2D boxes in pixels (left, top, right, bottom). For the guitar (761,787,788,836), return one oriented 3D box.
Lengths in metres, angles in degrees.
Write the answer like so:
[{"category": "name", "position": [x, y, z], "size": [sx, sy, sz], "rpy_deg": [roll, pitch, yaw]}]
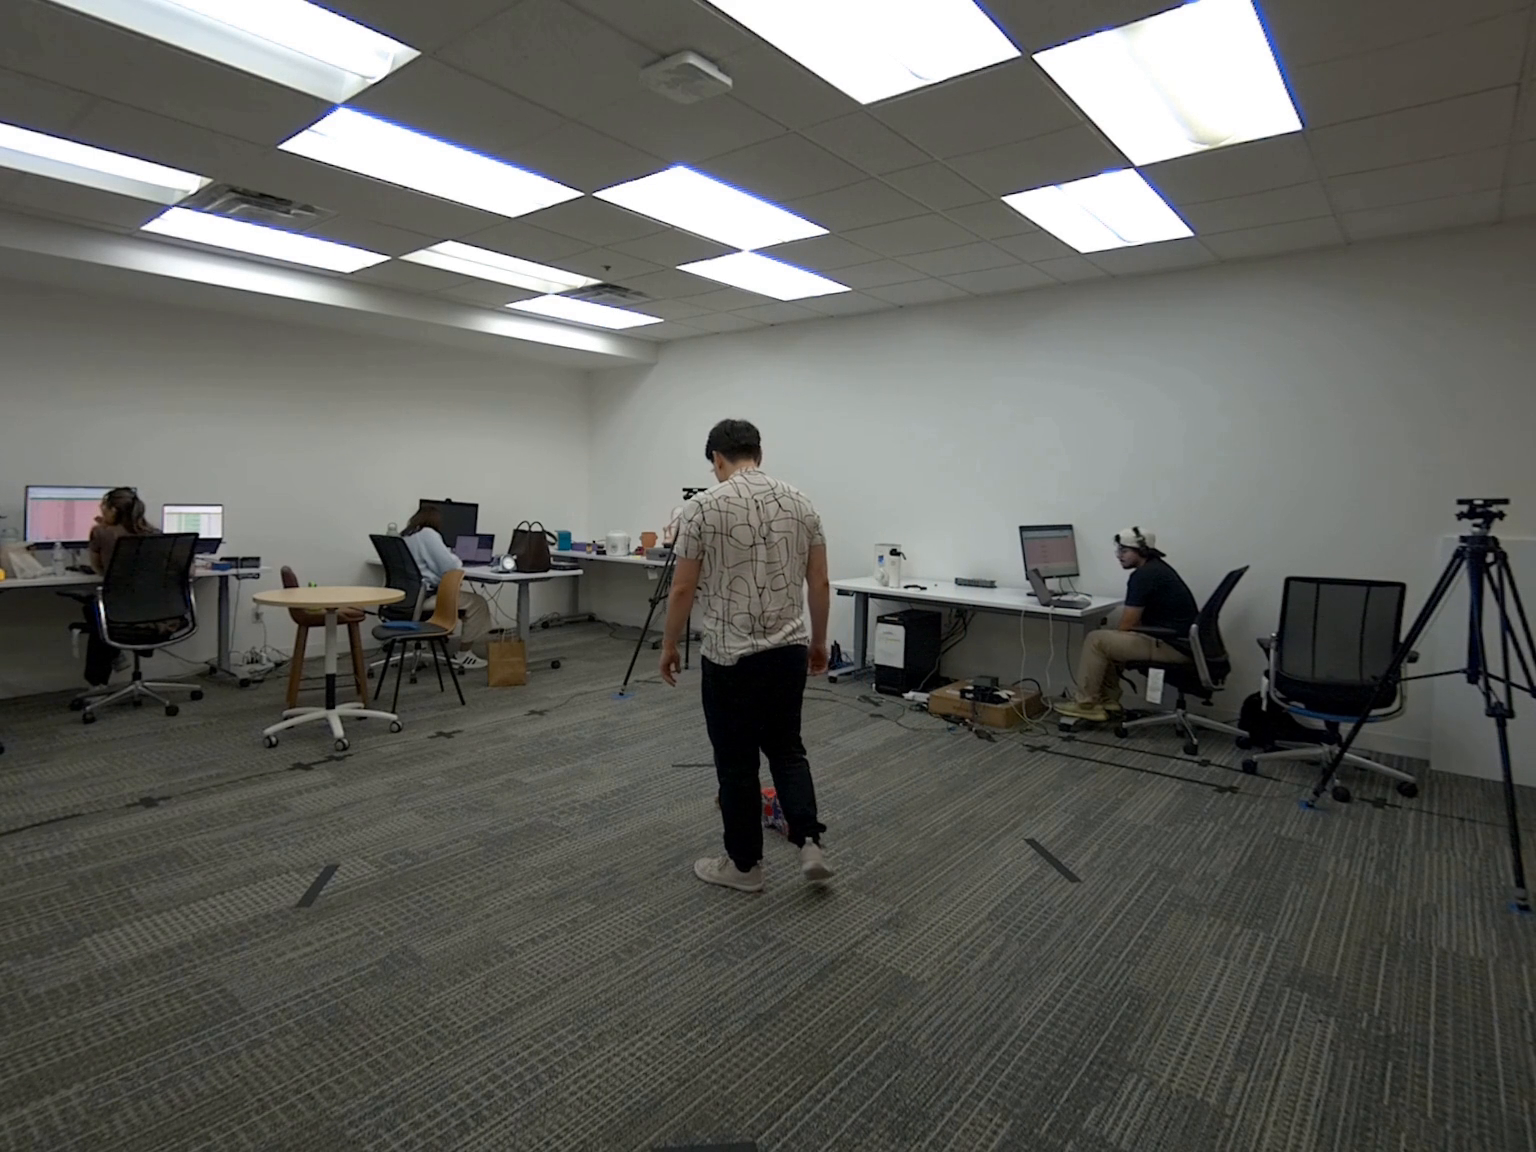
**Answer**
[{"category": "guitar", "position": [-0.040, 0.935, 3.559], "size": [0.069, 0.192, 0.515], "rpy_deg": [-7, 9, -43]}]
